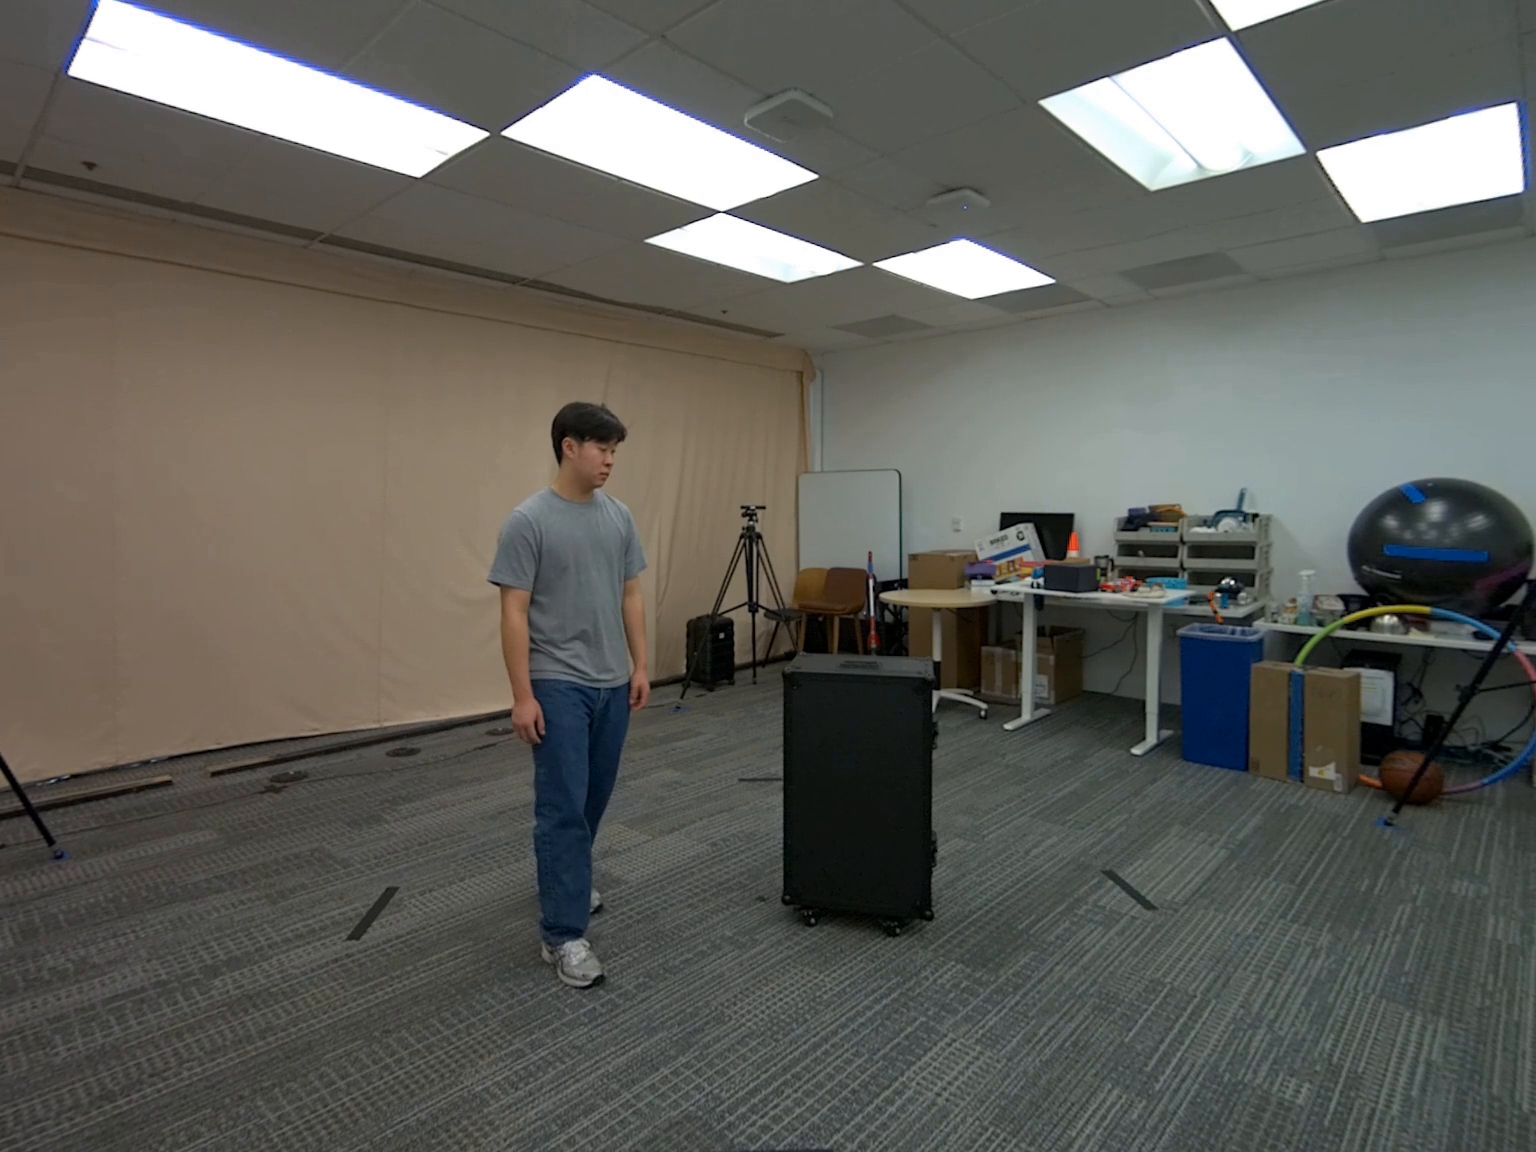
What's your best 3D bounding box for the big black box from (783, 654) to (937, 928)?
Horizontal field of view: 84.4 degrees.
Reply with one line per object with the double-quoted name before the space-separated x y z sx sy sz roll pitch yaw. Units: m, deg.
"big black box" 0.313 0.726 2.899 0.529 0.860 0.391 1 2 13
